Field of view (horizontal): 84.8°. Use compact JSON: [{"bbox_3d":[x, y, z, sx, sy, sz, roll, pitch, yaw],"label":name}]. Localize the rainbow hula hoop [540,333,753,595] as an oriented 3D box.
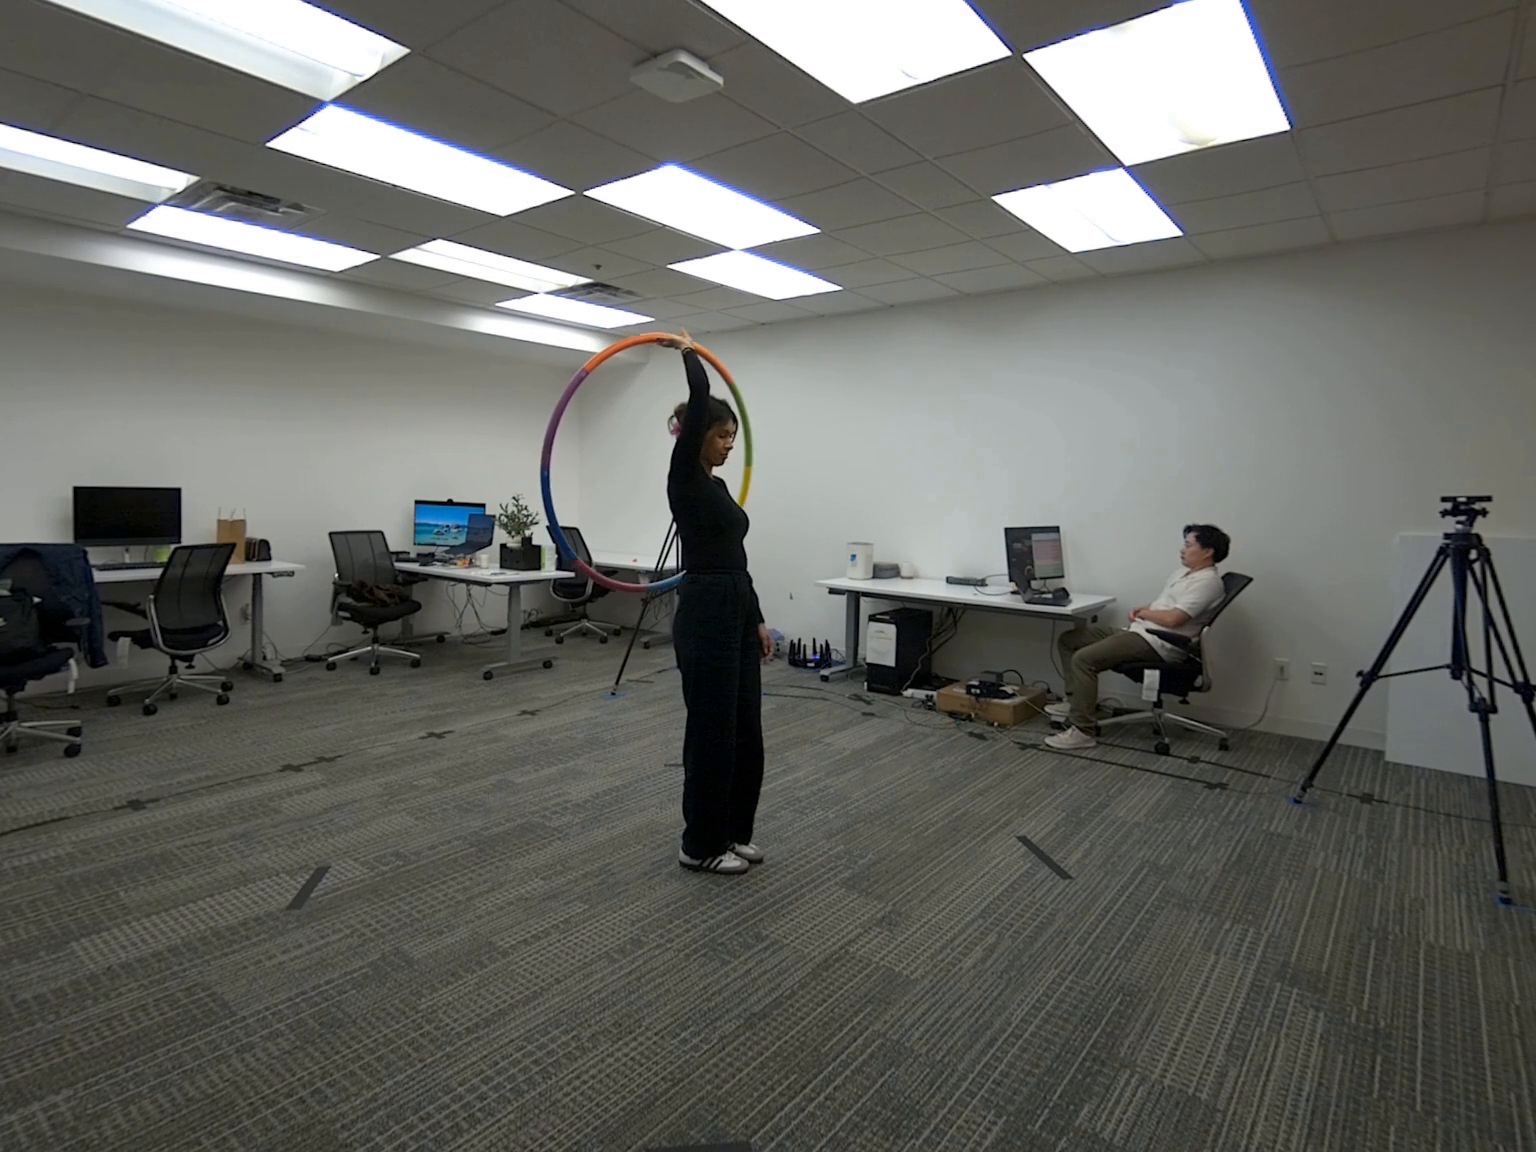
[{"bbox_3d":[-0.435,-0.428,3.249,0.956,0.978,0.053,-3,12,-42],"label":"rainbow hula hoop"}]
